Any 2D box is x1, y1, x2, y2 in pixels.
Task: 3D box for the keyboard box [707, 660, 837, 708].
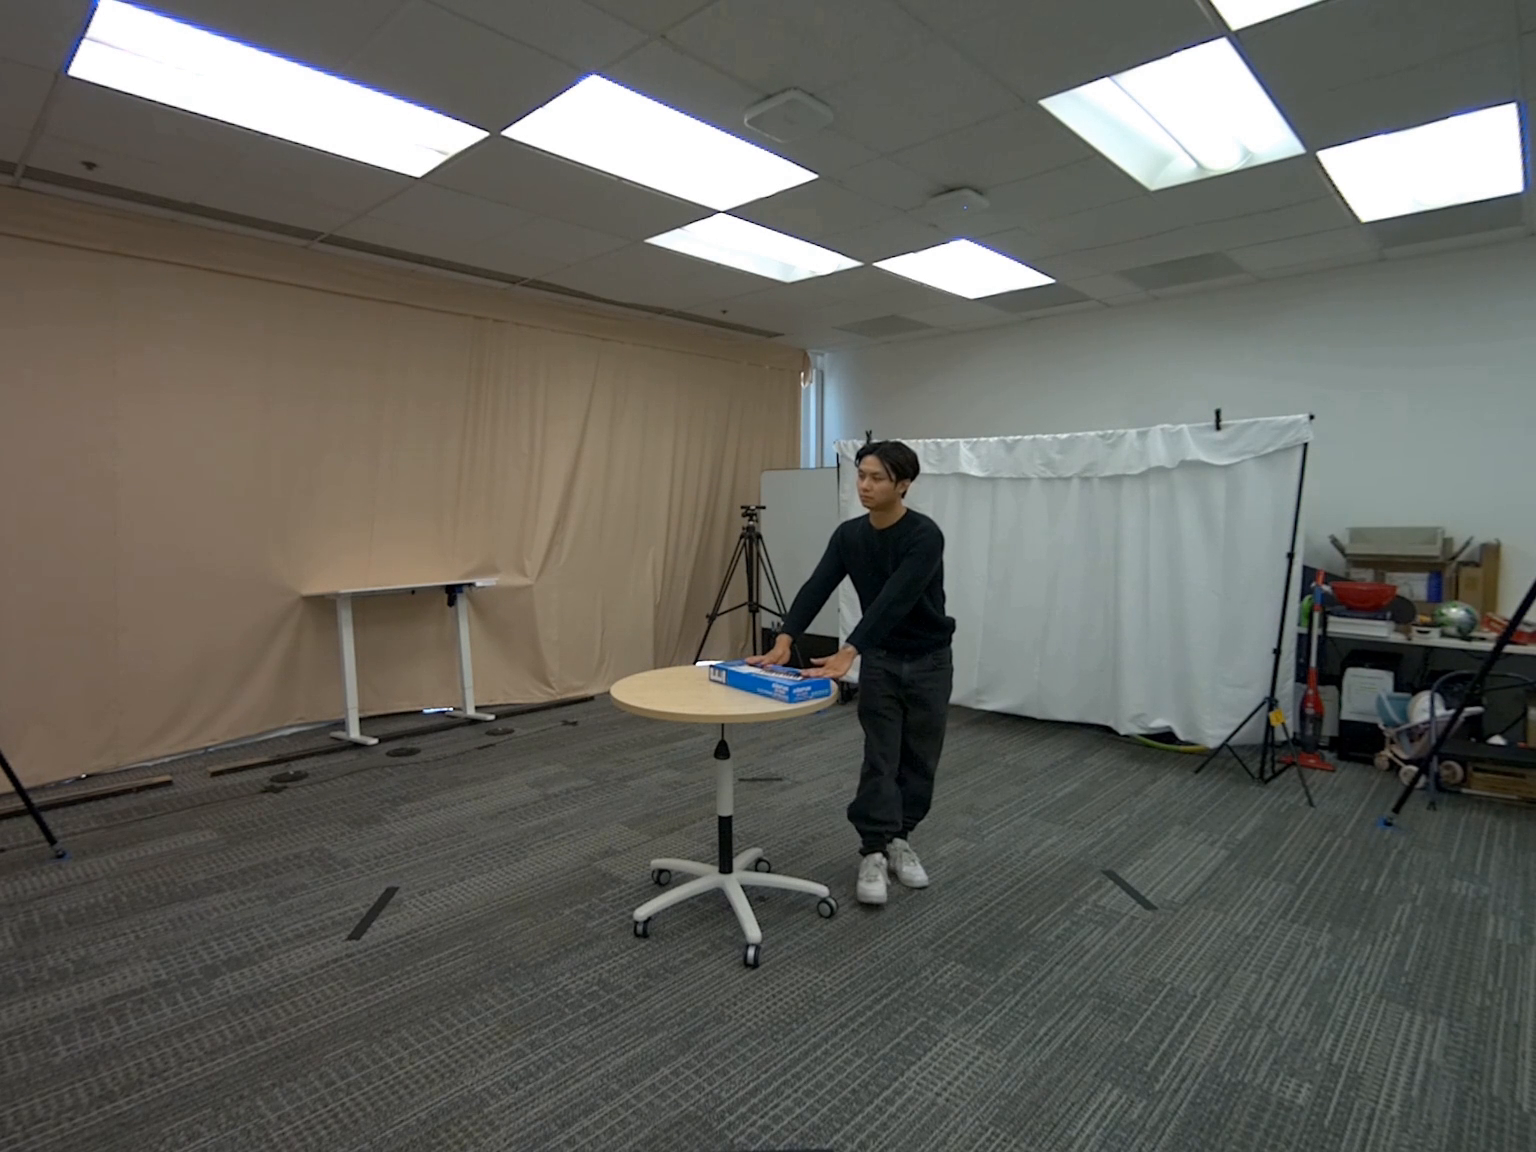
[{"bbox_3d":[0.003,0.348,2.791,0.171,0.059,0.451,-5,7,-40],"label":"keyboard box"}]
